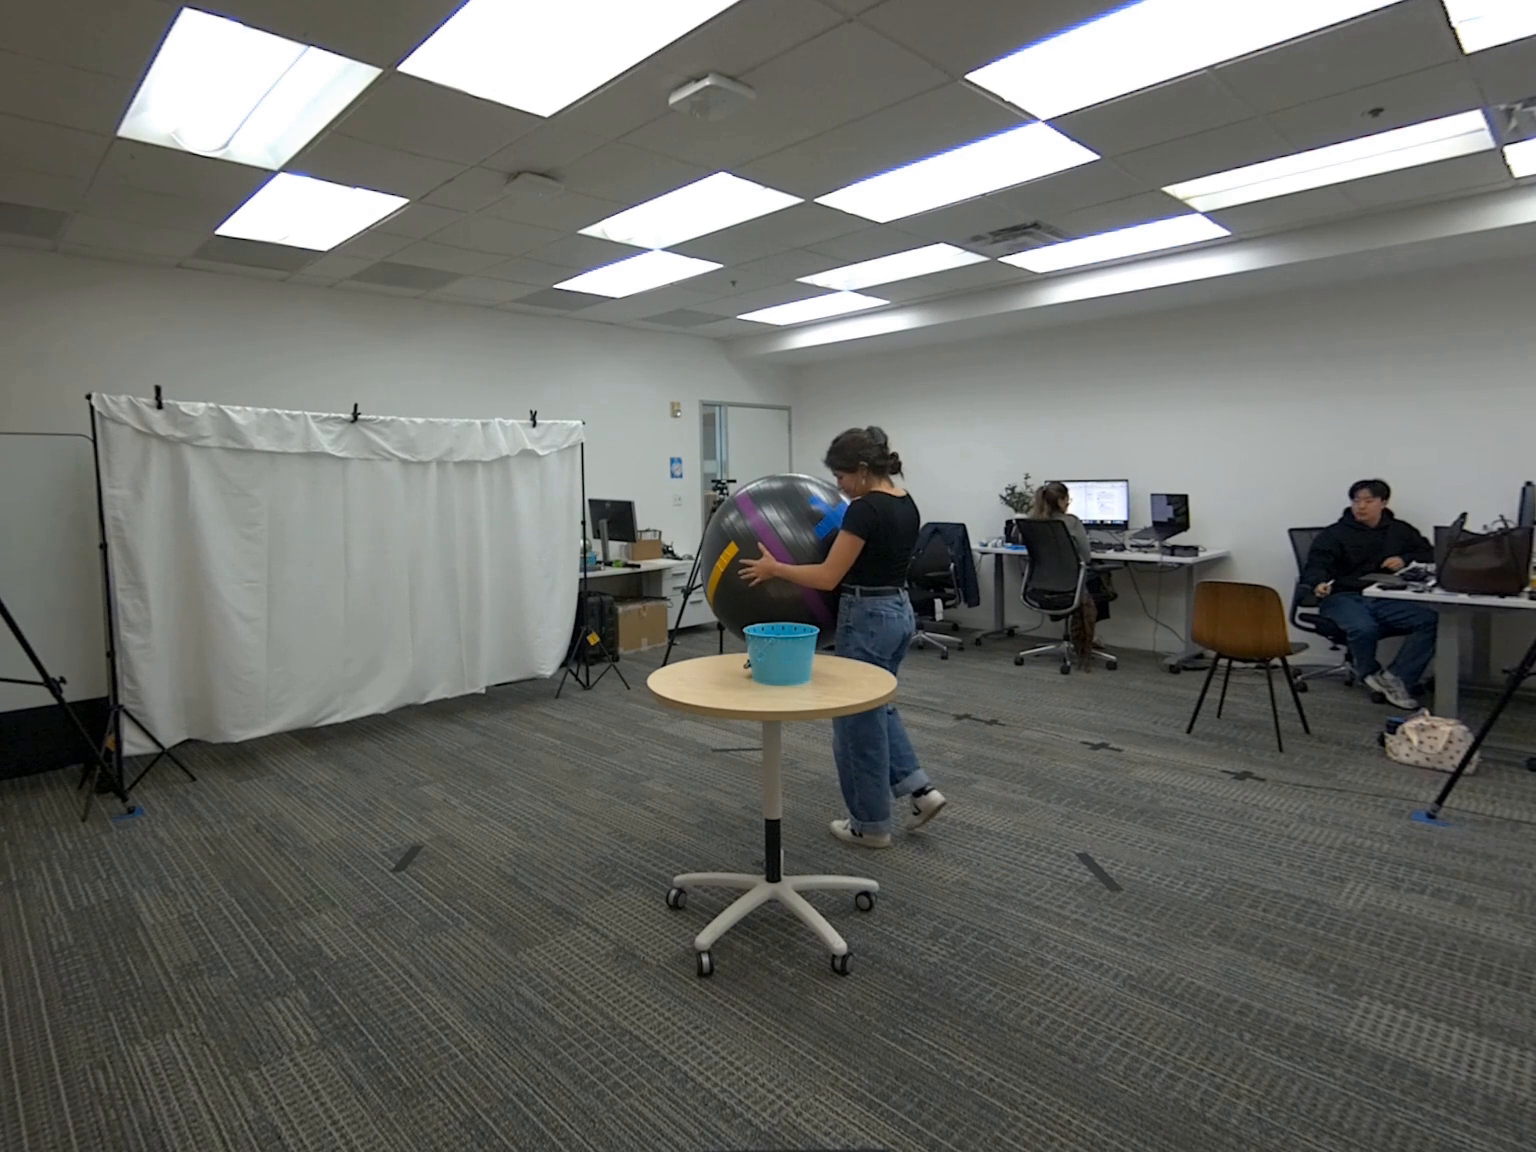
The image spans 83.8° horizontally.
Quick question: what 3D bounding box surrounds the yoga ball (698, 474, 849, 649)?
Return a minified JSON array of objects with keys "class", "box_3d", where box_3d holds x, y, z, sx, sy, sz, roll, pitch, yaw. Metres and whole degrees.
[{"class":"yoga ball","box_3d":[0.085,-0.051,3.604,0.757,0.755,0.762,-1,5,-2]}]
